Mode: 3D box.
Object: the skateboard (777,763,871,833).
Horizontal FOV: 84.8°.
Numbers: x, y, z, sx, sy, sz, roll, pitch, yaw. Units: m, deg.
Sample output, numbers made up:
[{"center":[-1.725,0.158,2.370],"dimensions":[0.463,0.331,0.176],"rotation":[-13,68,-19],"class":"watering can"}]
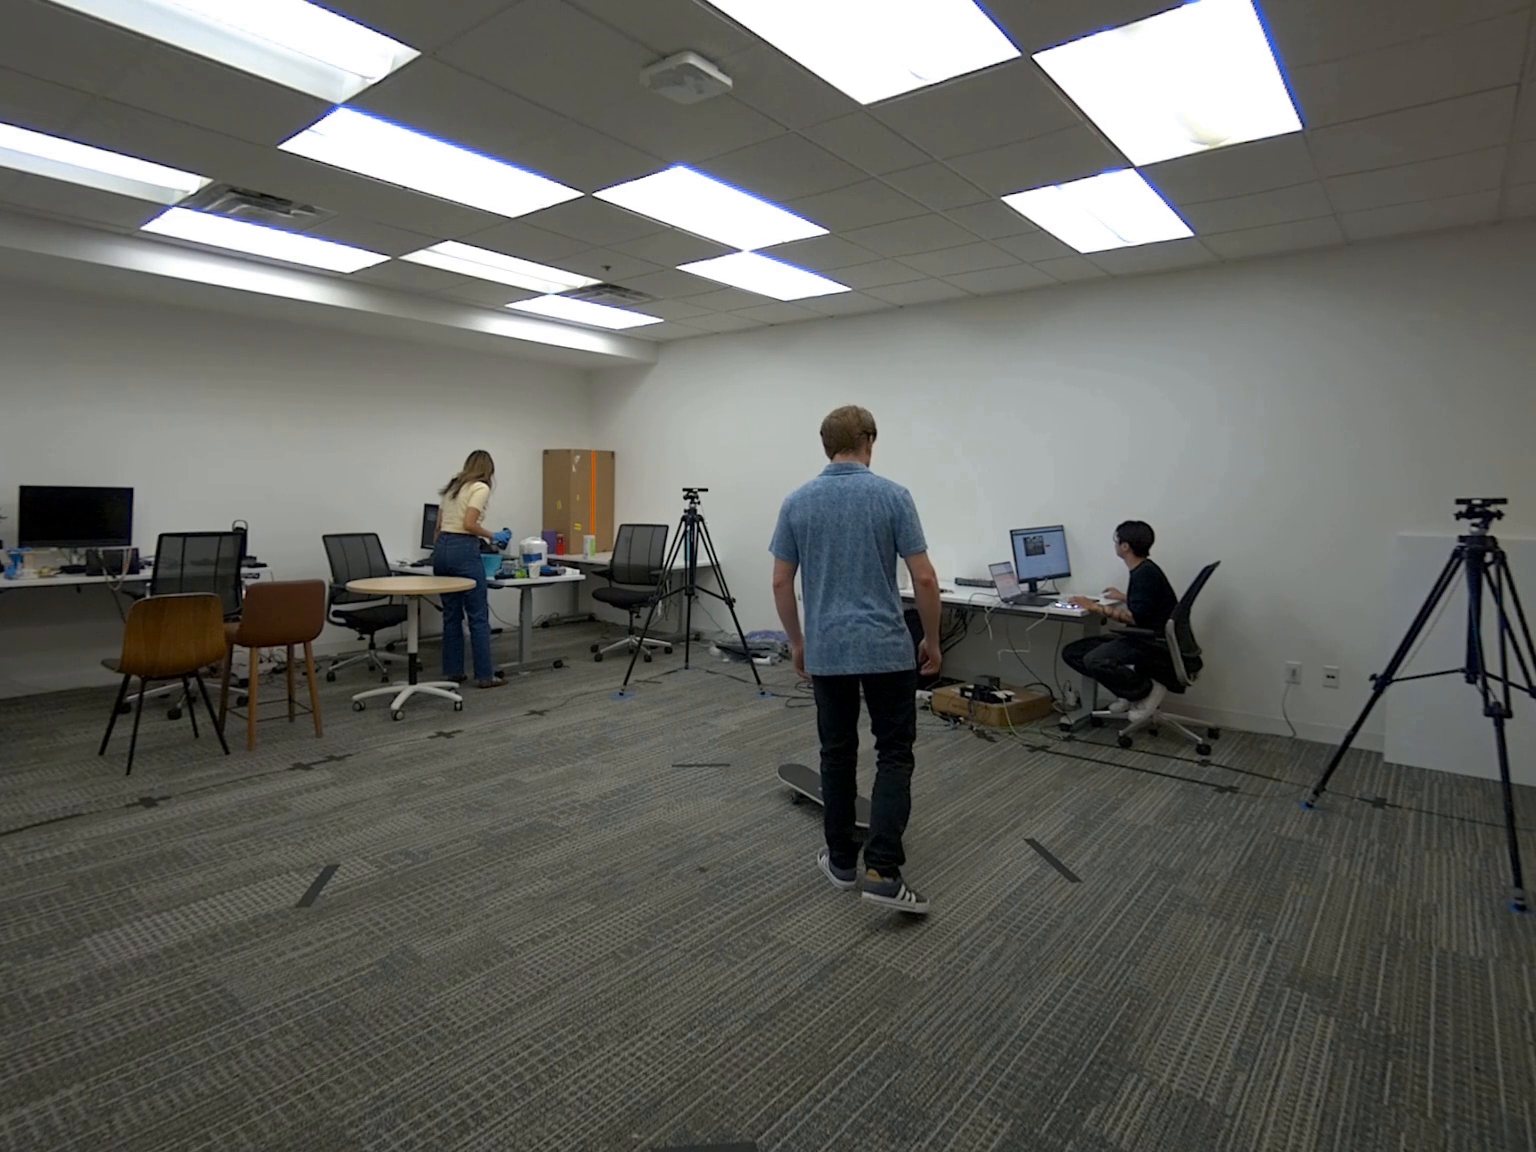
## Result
[{"center":[0.275,0.970,3.648],"dimensions":[0.188,0.110,0.809],"rotation":[-2,7,-29],"class":"skateboard"}]
